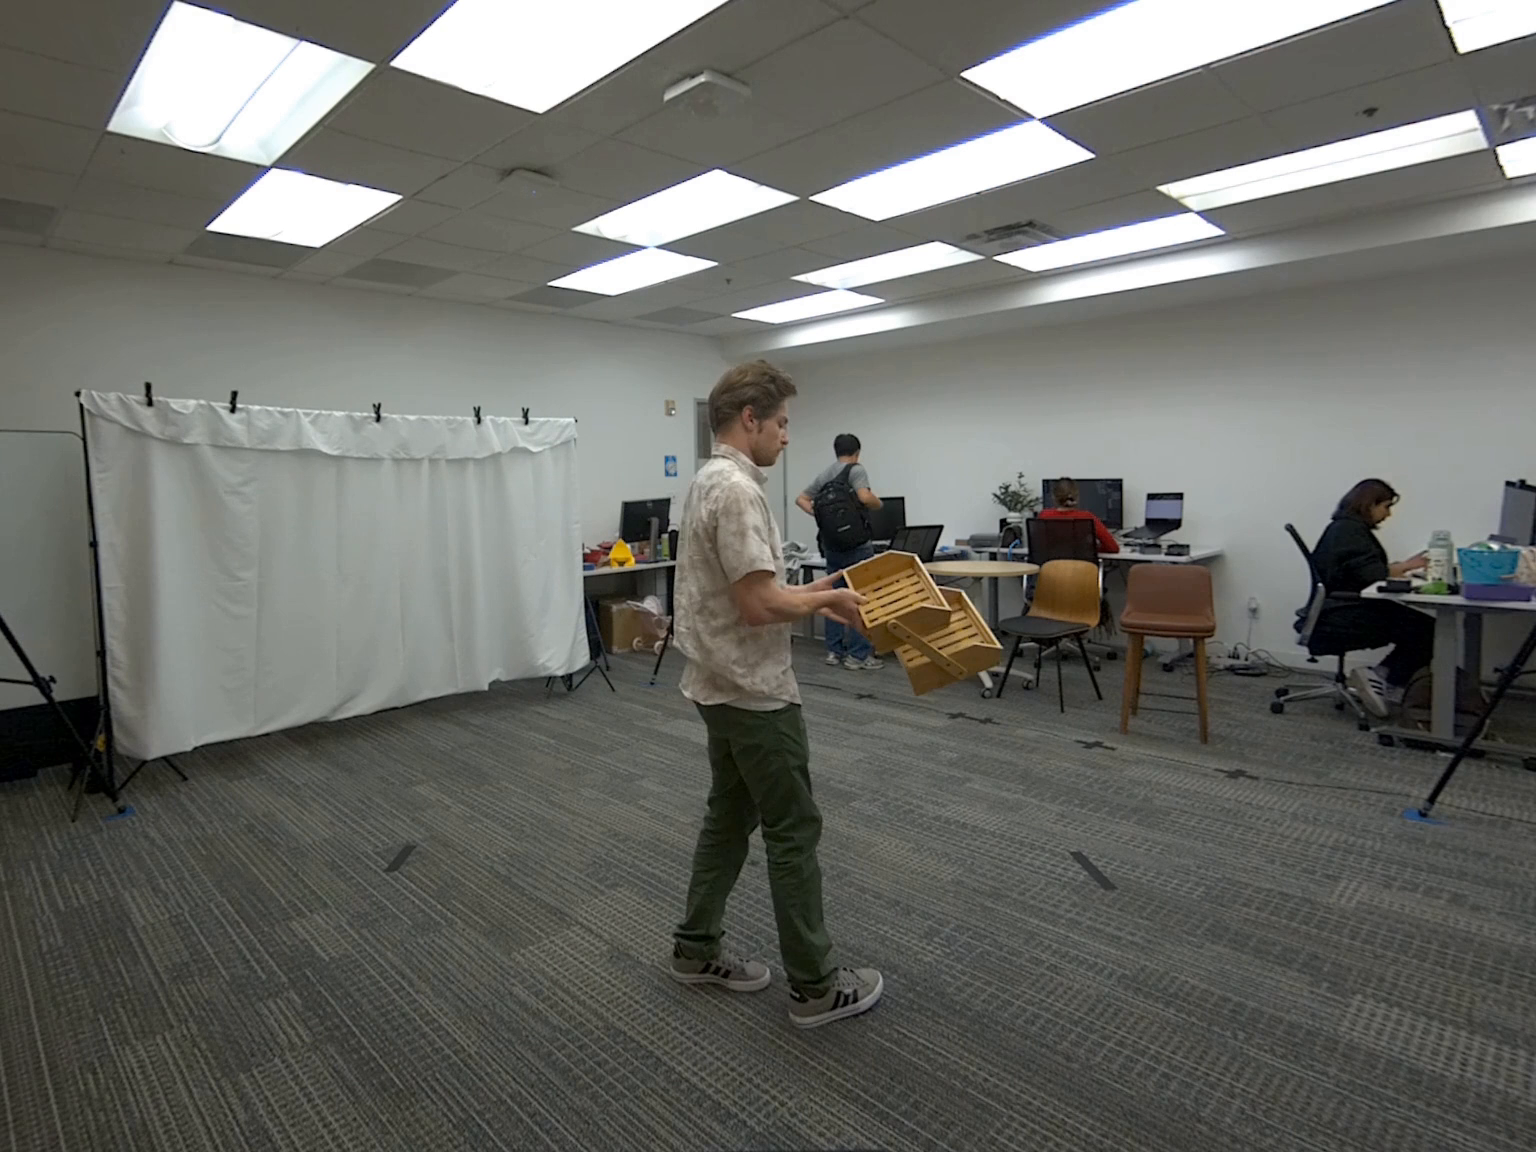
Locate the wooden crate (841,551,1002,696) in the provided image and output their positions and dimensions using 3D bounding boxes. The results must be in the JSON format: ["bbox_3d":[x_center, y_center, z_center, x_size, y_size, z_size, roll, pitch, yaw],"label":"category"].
[{"bbox_3d":[0.409,0.098,2.292,0.303,0.265,0.333,-23,27,4],"label":"wooden crate"}]
